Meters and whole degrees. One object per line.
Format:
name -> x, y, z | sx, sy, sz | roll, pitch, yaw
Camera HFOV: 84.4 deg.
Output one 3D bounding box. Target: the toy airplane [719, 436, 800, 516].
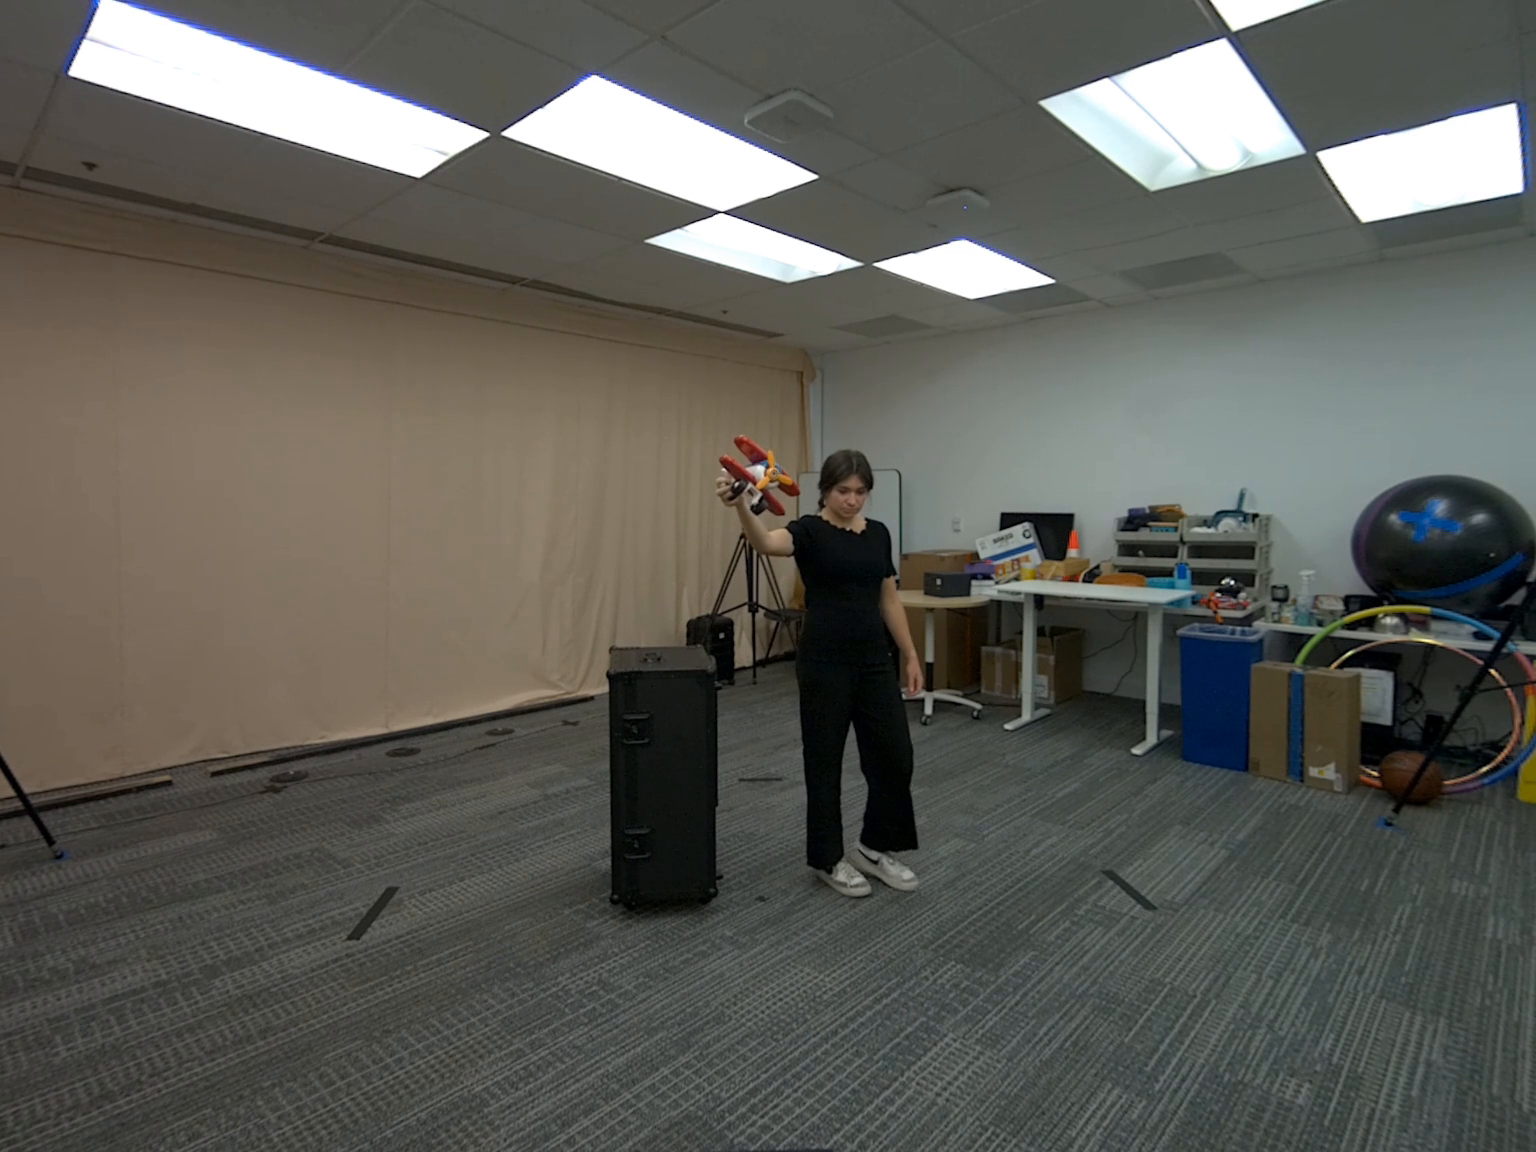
toy airplane -> -0.058, -0.297, 2.494 | 0.269, 0.156, 0.242 | 36, -7, 42
